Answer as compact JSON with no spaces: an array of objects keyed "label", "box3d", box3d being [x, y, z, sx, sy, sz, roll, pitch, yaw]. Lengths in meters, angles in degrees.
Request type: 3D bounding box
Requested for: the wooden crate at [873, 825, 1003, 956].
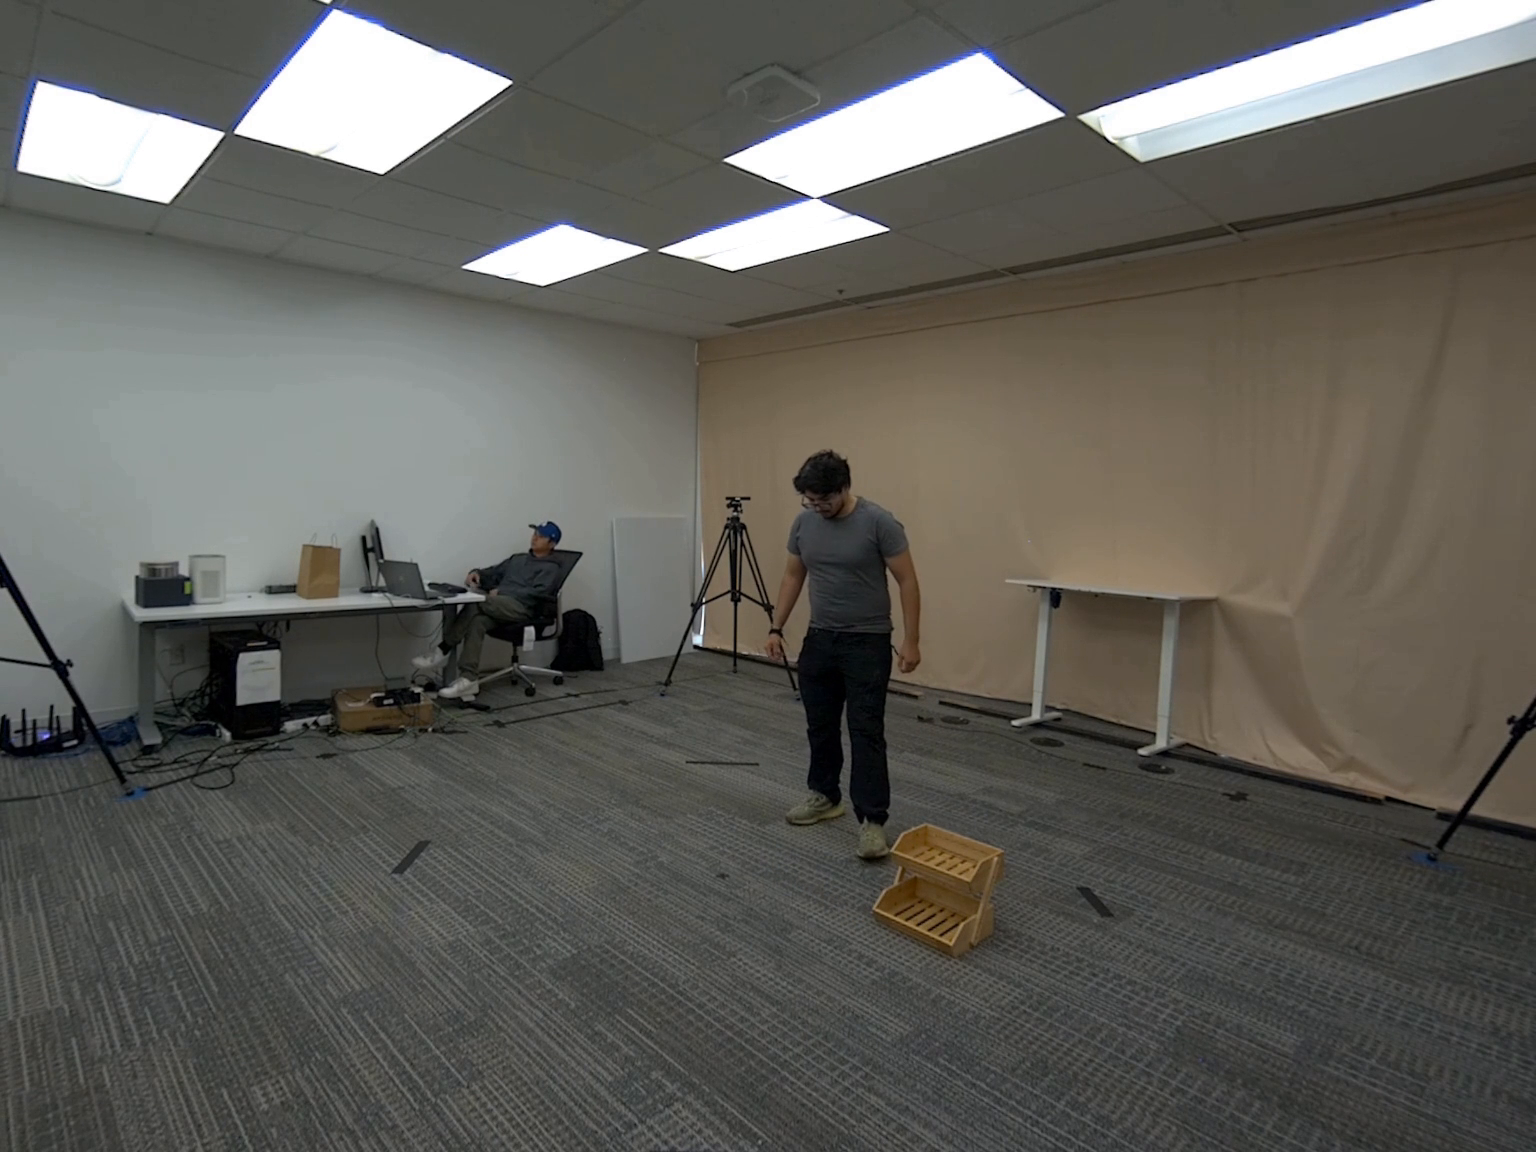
[{"label":"wooden crate","box3d":[0.552,1.020,2.769,0.333,0.273,0.295,5,5,44]}]
